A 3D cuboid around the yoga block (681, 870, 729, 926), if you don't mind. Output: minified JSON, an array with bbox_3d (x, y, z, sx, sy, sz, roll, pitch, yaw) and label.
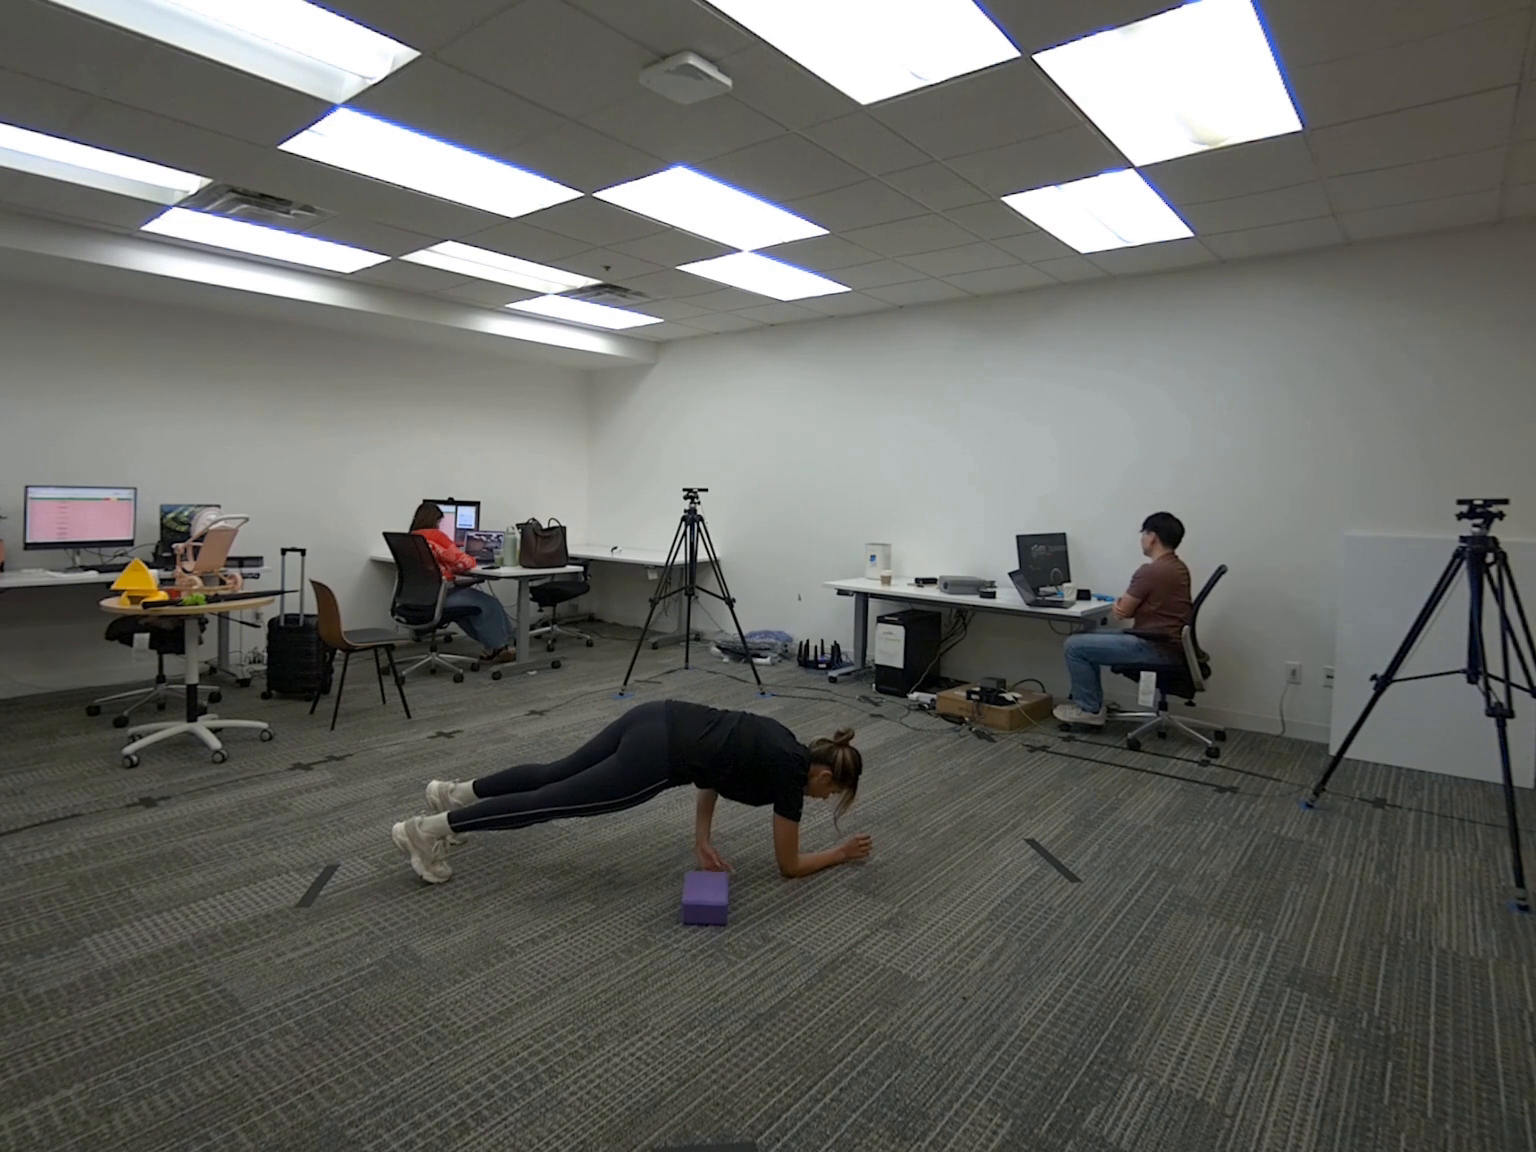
[{"bbox_3d":[-0.213,1.058,2.816,0.149,0.076,0.230,1,5,-1],"label":"yoga block"}]
